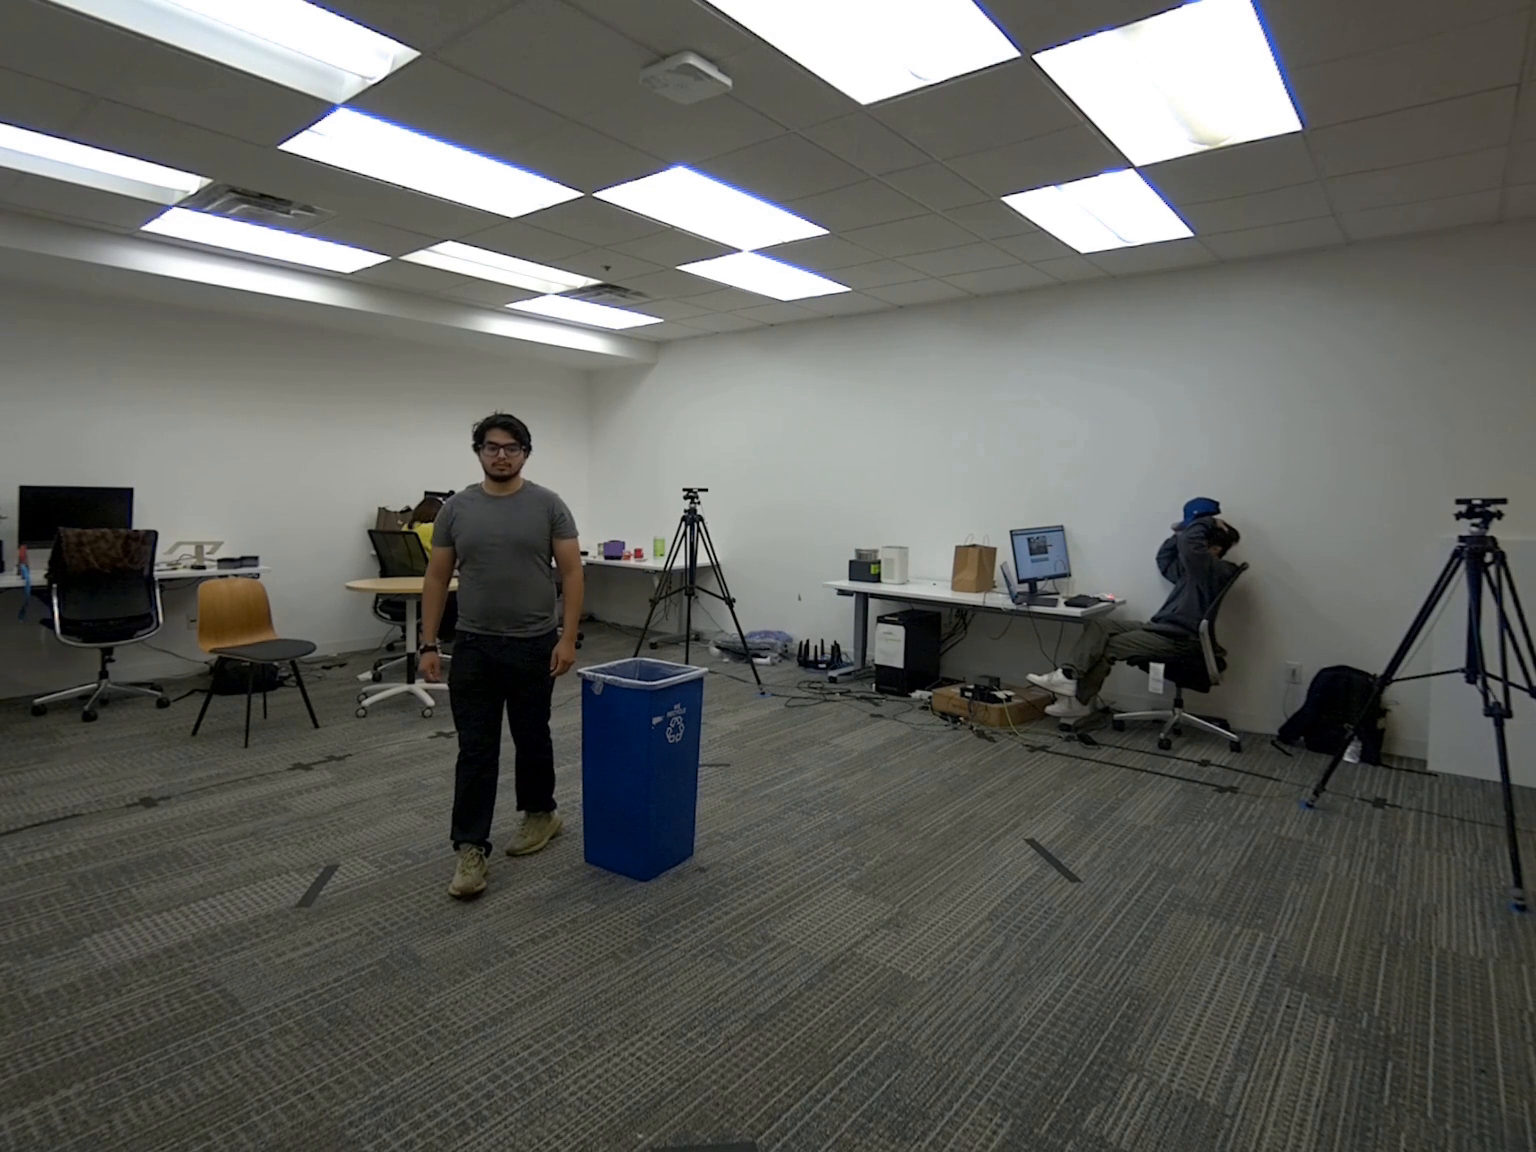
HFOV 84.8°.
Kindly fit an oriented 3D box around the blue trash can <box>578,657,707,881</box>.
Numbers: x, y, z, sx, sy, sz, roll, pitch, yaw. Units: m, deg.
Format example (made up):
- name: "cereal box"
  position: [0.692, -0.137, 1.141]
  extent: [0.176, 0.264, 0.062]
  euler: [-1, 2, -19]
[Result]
- name: "blue trash can"
  position: [-0.483, 0.701, 3.188]
  extent: [0.390, 0.712, 0.364]
  euler: [3, 4, 32]
